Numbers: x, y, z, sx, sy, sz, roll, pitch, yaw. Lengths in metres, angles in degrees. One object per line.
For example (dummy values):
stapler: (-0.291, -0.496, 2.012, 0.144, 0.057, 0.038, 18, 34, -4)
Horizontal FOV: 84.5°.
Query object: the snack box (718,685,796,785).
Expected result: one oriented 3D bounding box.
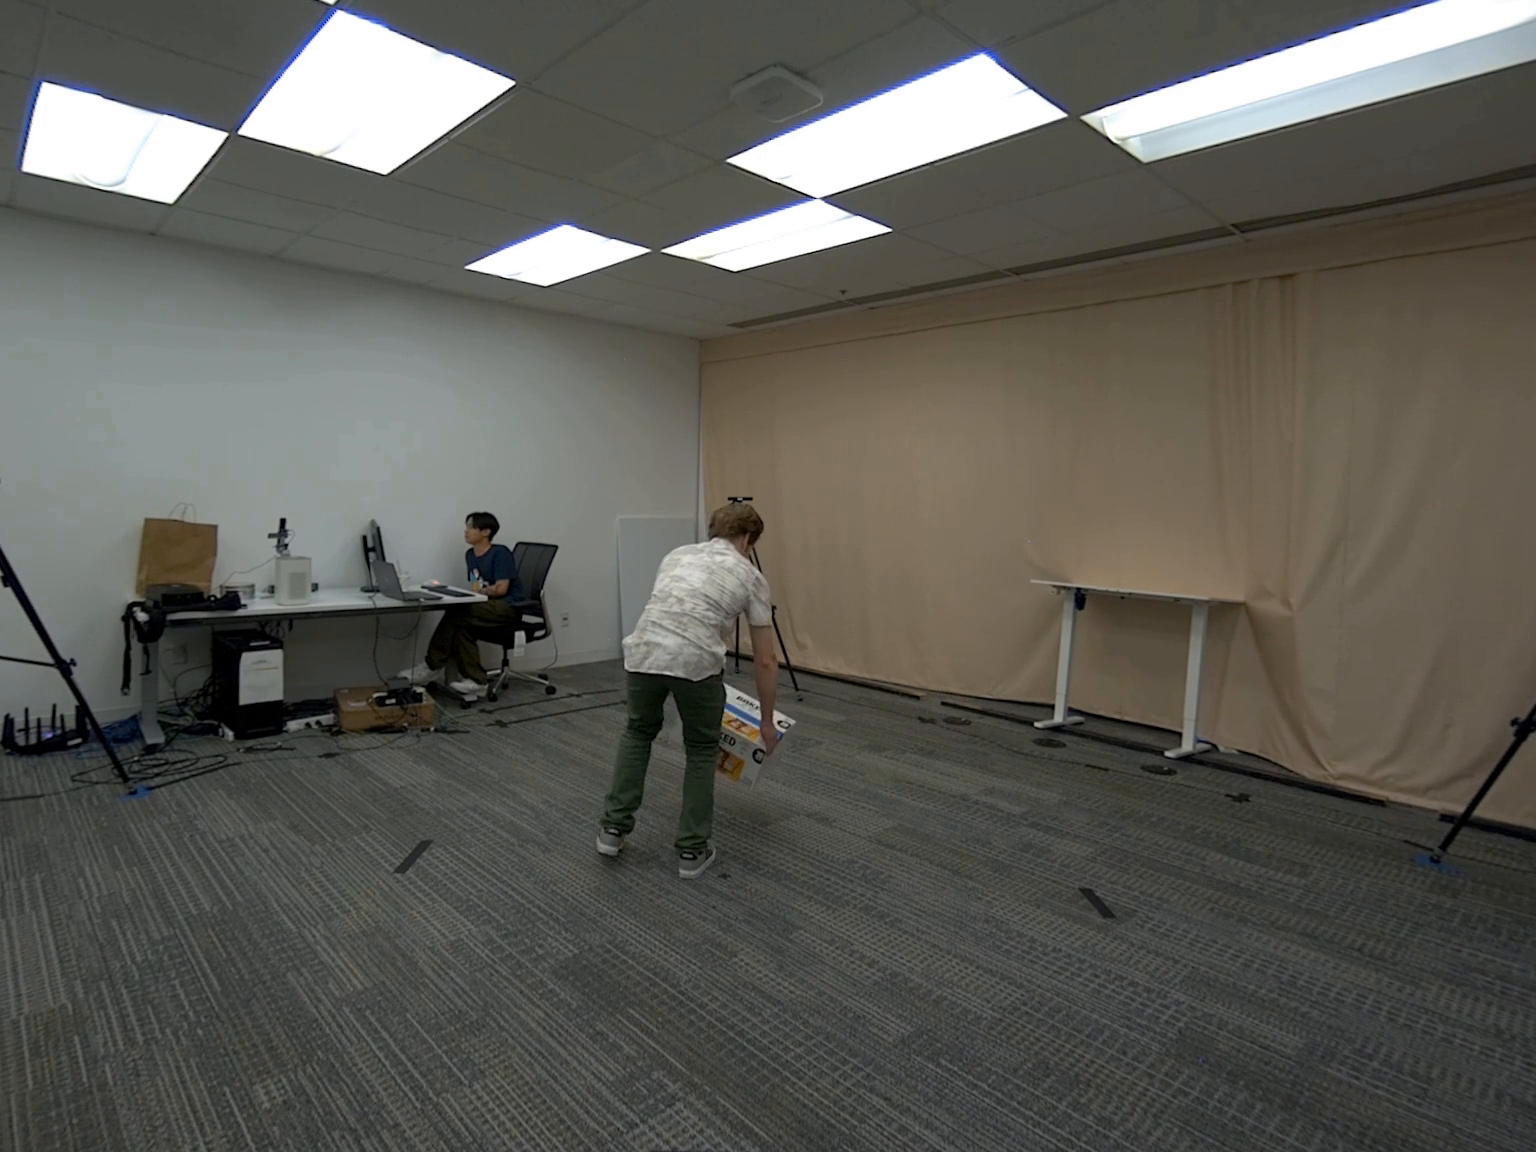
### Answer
snack box: (-0.155, 0.672, 3.589, 0.413, 0.204, 0.336, 25, 19, 18)
